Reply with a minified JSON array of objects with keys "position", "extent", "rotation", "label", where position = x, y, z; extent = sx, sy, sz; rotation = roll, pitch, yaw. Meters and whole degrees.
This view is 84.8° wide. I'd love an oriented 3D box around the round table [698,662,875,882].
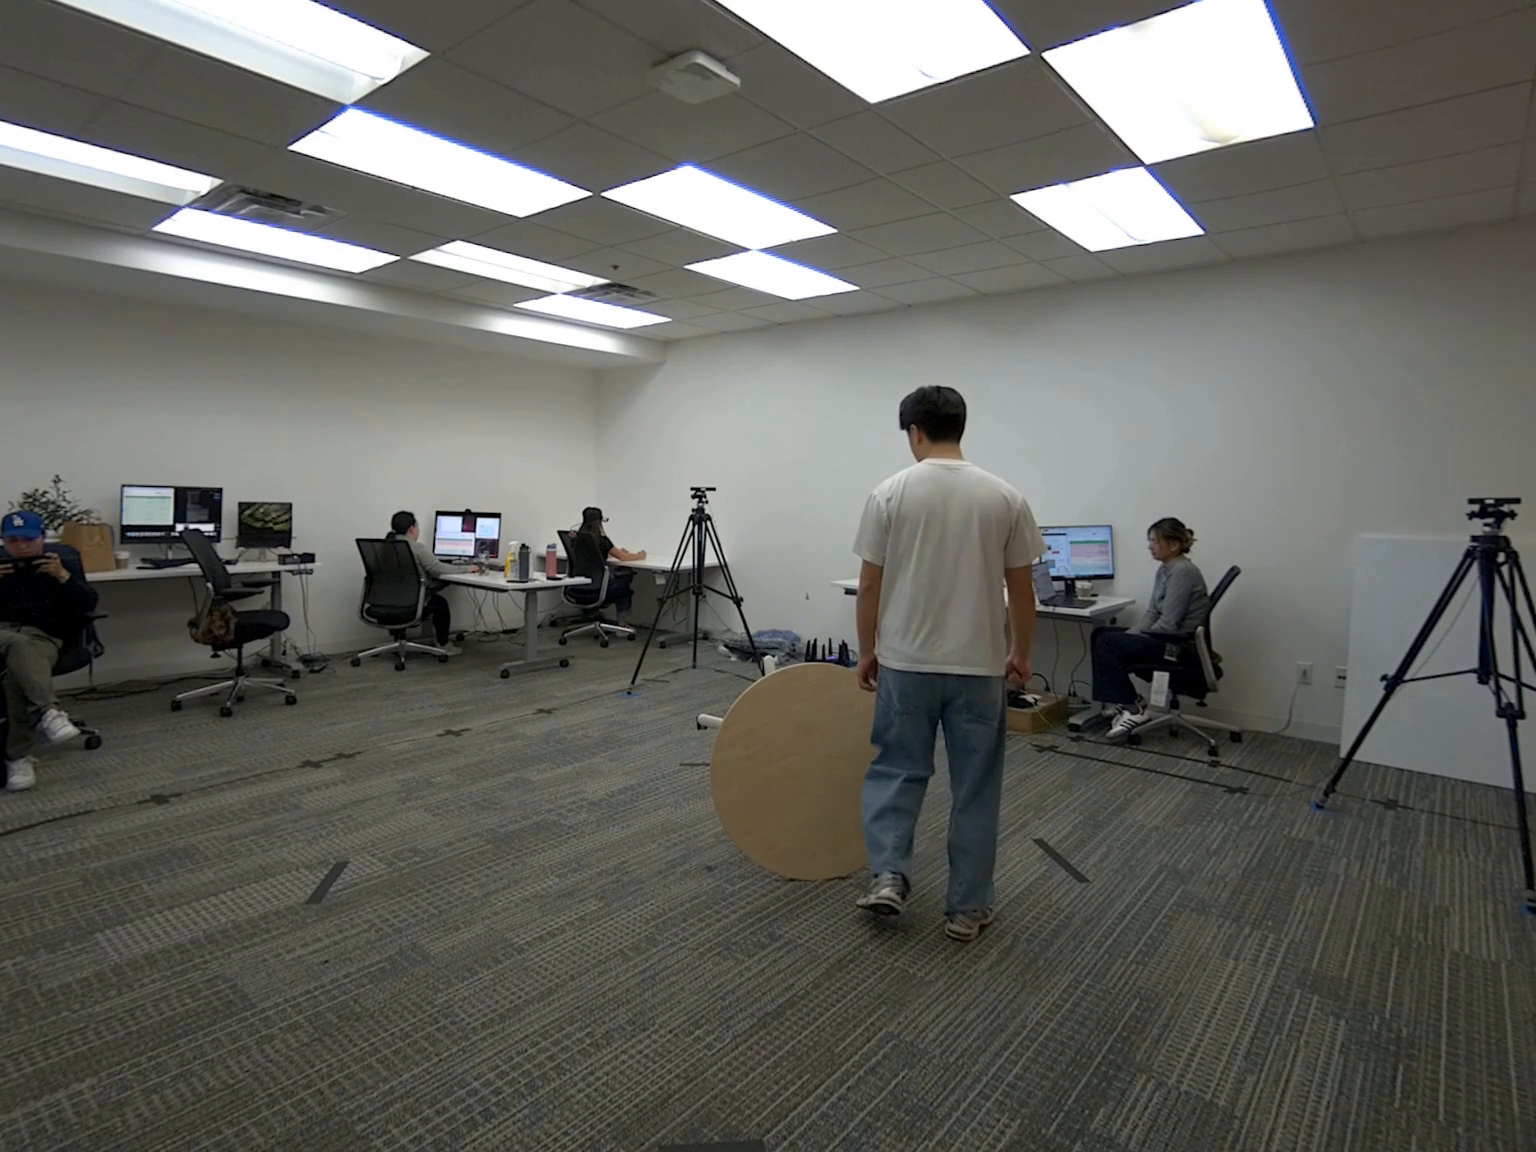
[{"position":[0.073,0.695,3.442],"extent":[0.776,0.787,0.794],"rotation":[0,-2,-11],"label":"round table"}]
